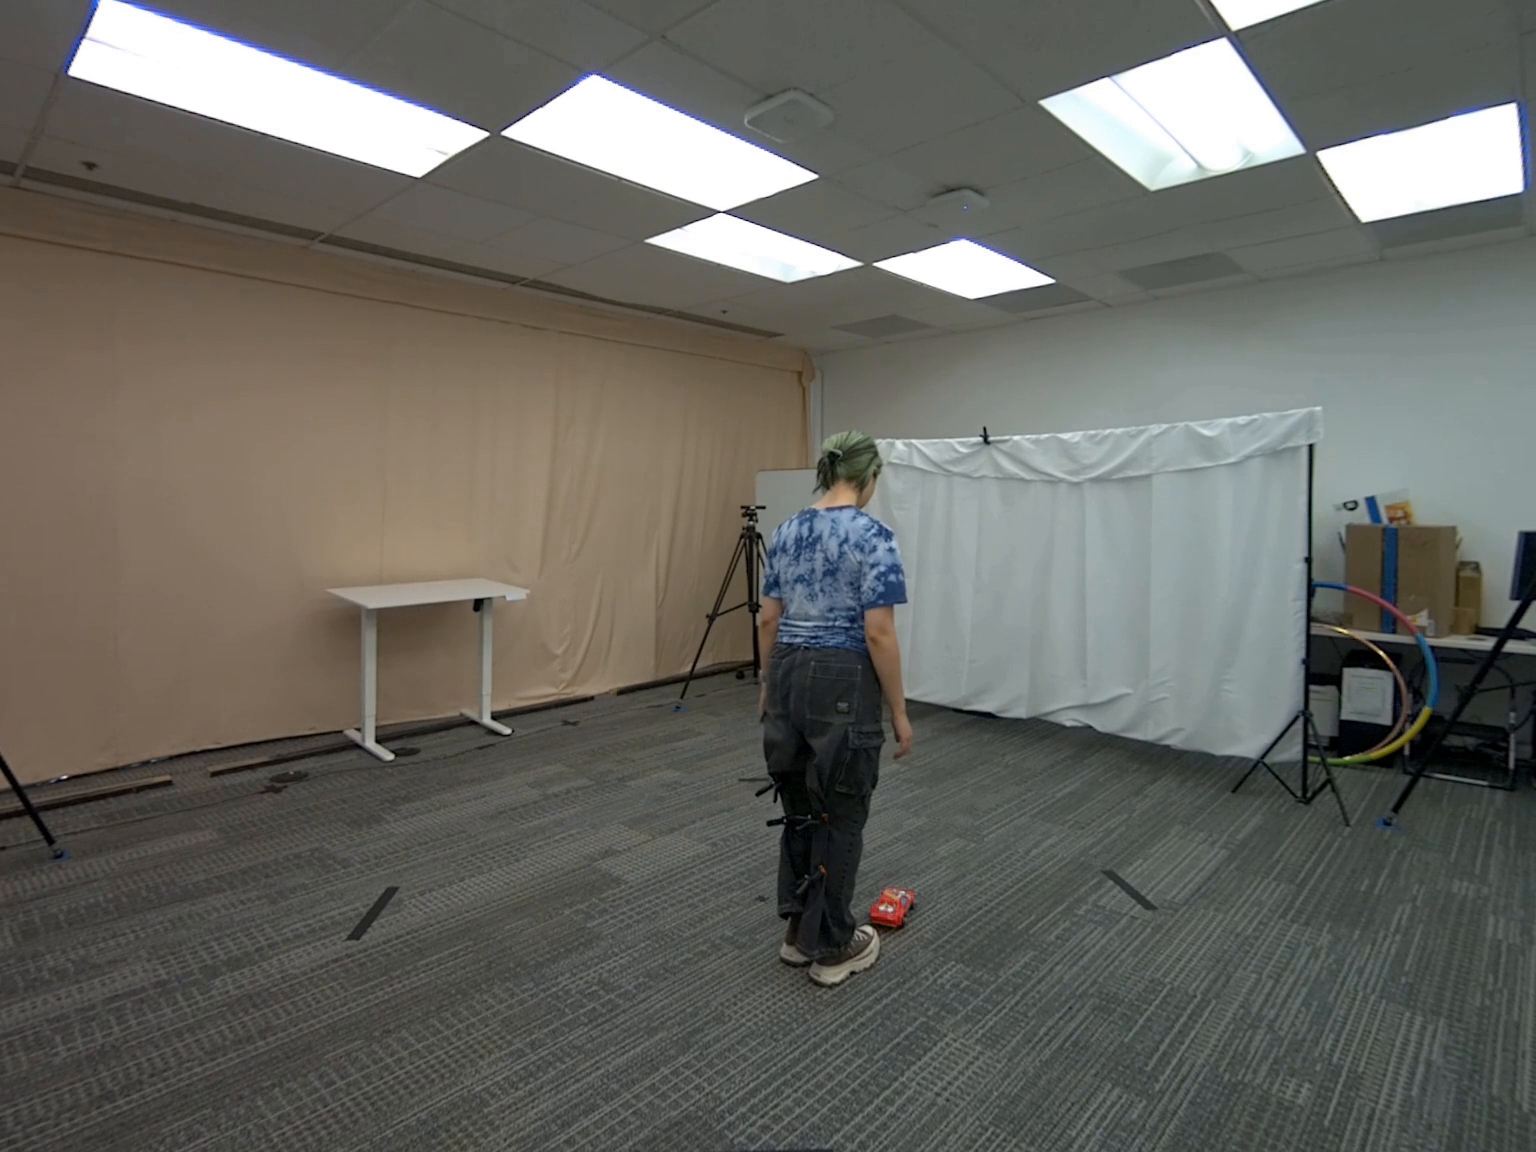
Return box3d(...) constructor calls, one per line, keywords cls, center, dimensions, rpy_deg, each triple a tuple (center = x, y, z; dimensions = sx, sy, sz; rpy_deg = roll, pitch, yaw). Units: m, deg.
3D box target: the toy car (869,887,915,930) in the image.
box3d(cls="toy car", center=(0.423, 1.125, 2.841), dimensions=(0.134, 0.083, 0.247), rpy_deg=(3, -5, 24))
